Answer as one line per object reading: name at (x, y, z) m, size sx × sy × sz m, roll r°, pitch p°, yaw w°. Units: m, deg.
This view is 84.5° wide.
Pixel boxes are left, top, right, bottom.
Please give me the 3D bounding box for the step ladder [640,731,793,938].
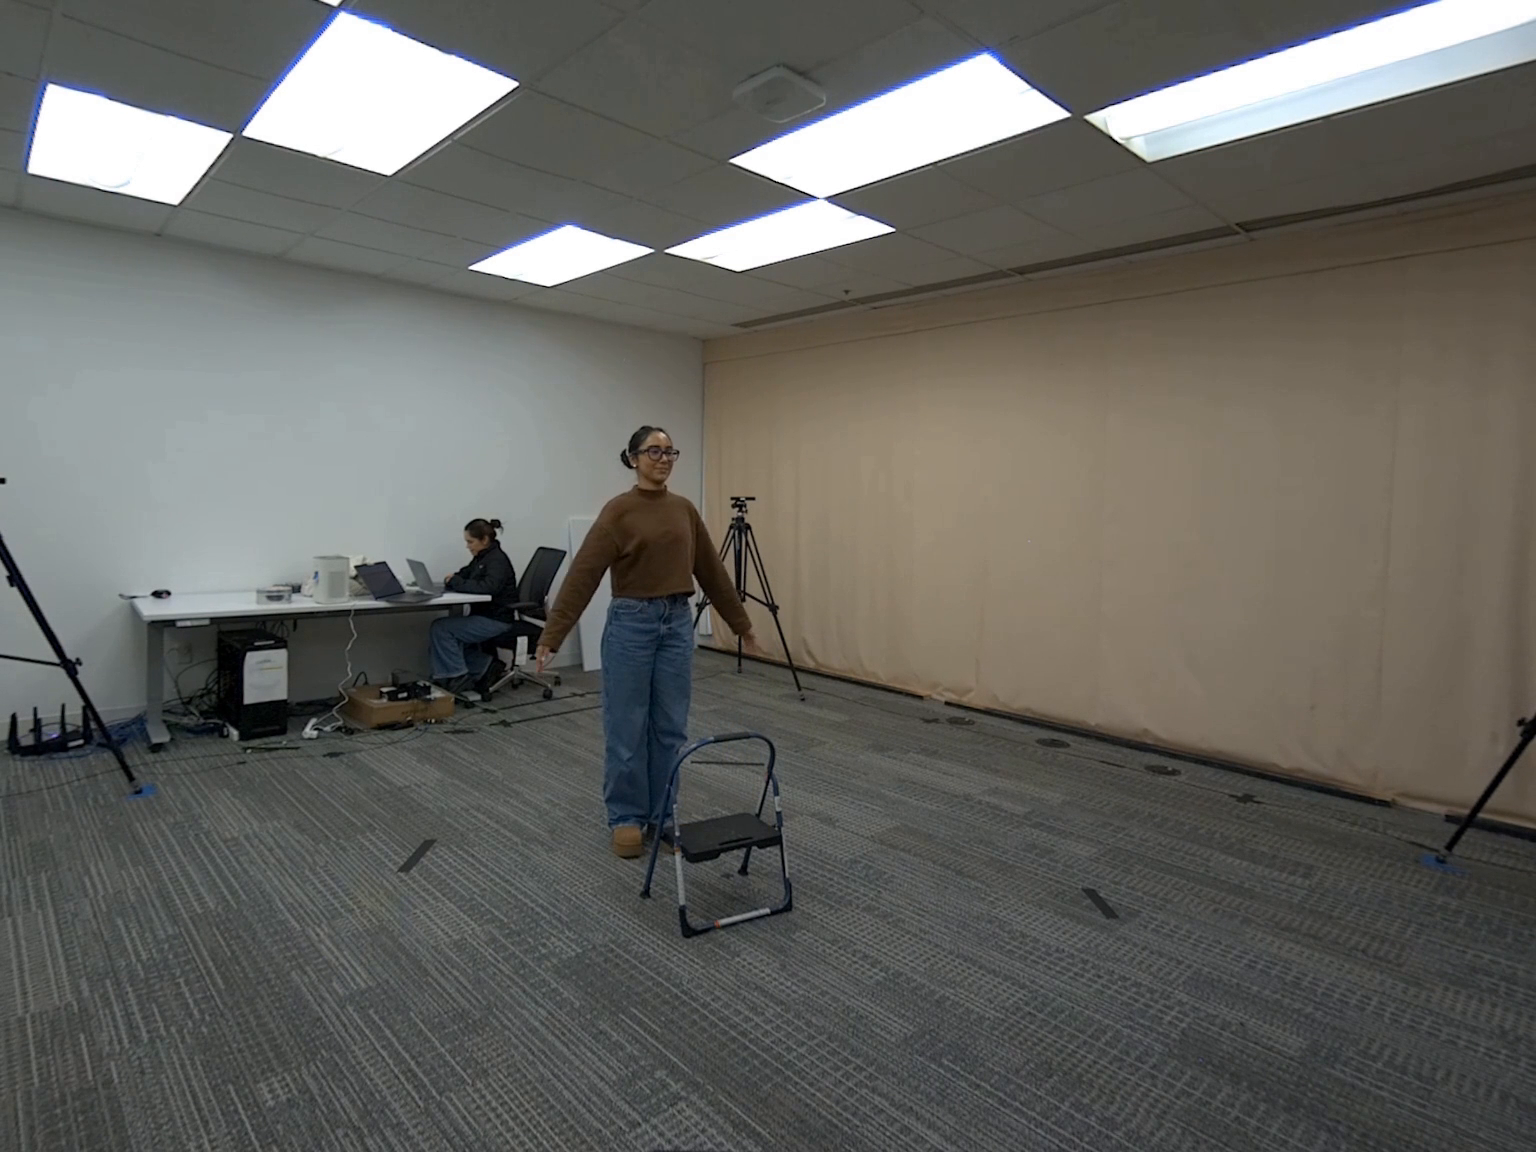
step ladder at (-0.177, 0.821, 2.882) m, size 0.422 × 0.604 × 0.357 m, roll -1°, pitch 4°, yaw -32°
